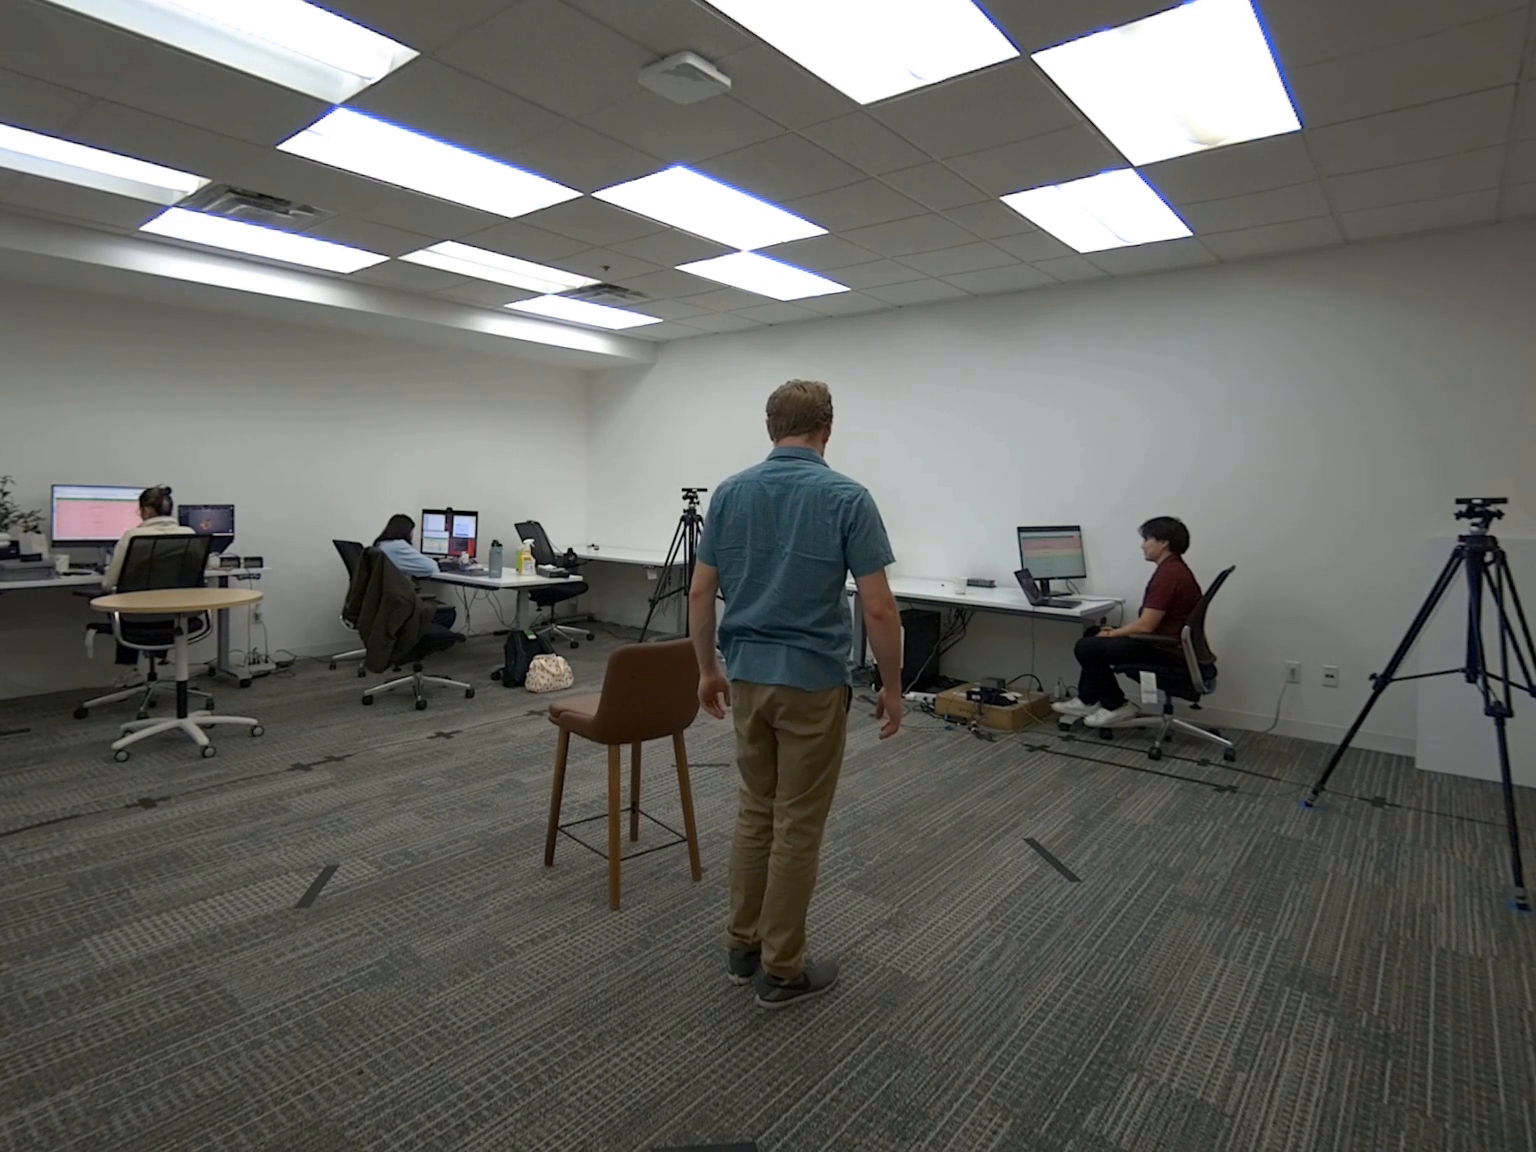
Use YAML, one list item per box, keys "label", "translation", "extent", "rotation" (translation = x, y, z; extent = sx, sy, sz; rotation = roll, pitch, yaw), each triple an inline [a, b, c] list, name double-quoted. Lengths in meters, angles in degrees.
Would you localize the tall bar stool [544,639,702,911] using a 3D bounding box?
- label: "tall bar stool"
  translation: [-0.520, 0.636, 3.054]
  extent: [0.442, 0.886, 0.484]
  rotation: [-1, 6, -42]
